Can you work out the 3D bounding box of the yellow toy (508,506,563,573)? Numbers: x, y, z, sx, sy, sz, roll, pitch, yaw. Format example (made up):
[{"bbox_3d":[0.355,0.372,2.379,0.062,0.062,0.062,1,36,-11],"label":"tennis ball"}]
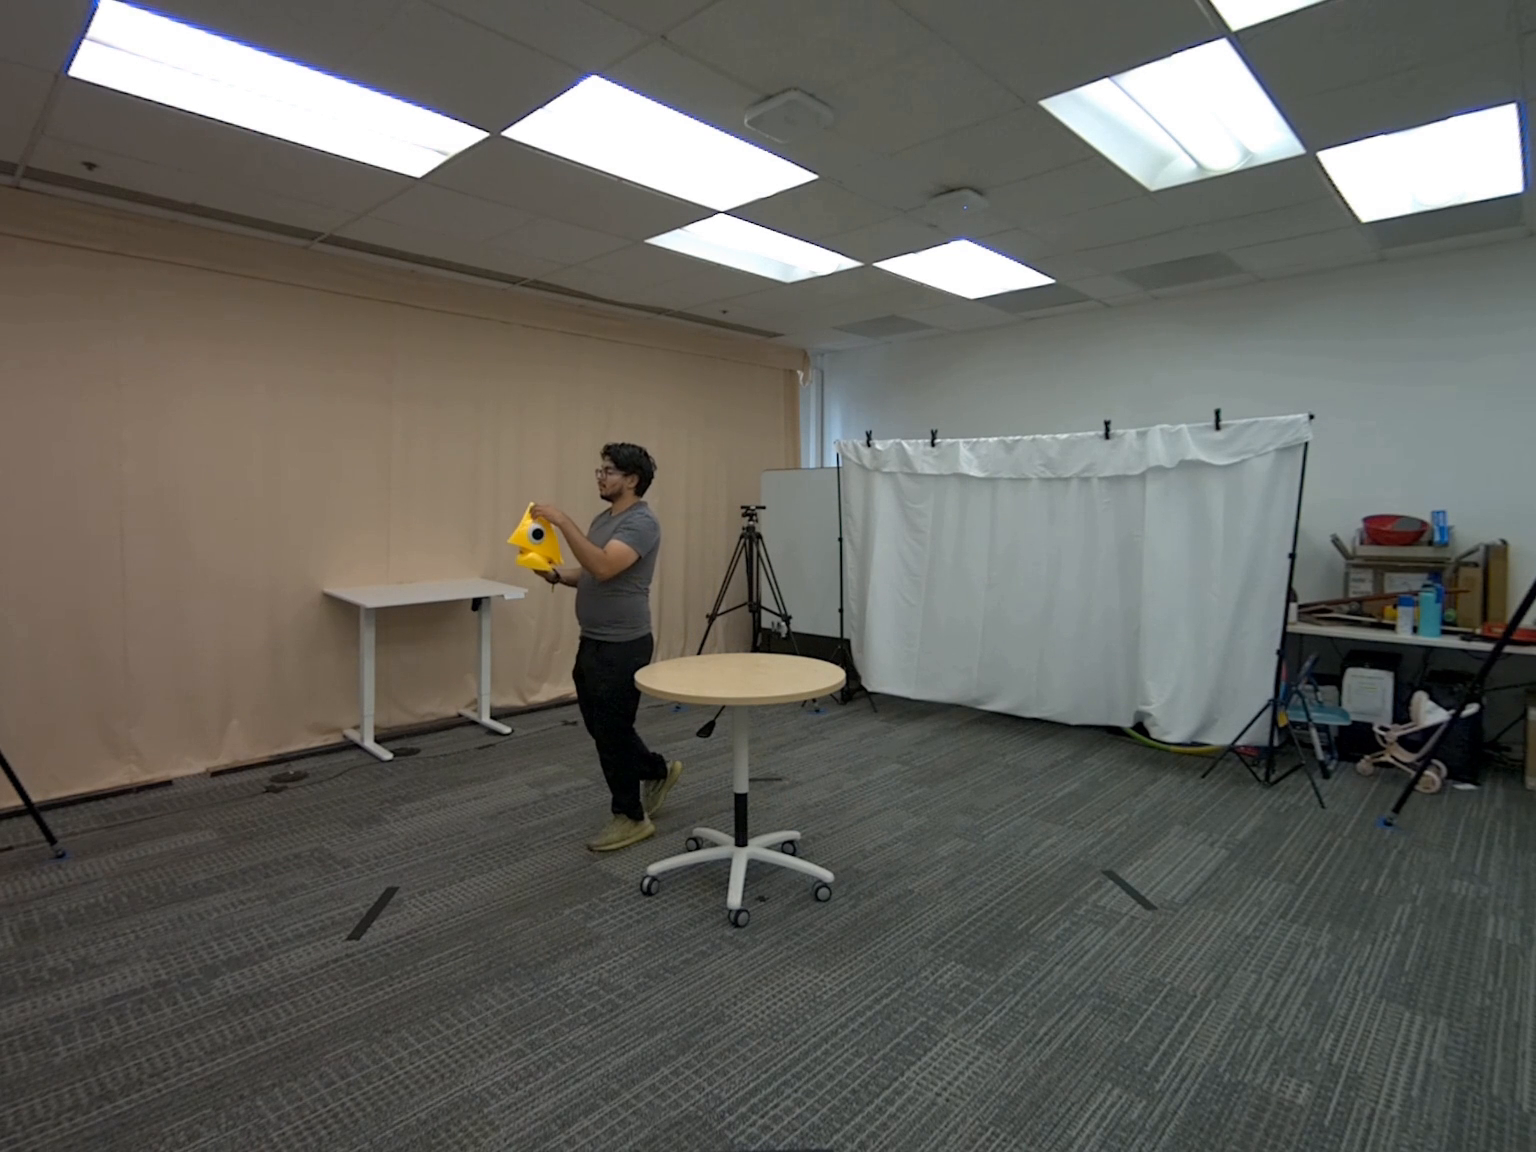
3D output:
[{"bbox_3d":[-0.890,-0.165,3.296,0.194,0.230,0.204,13,11,5],"label":"yellow toy"}]
